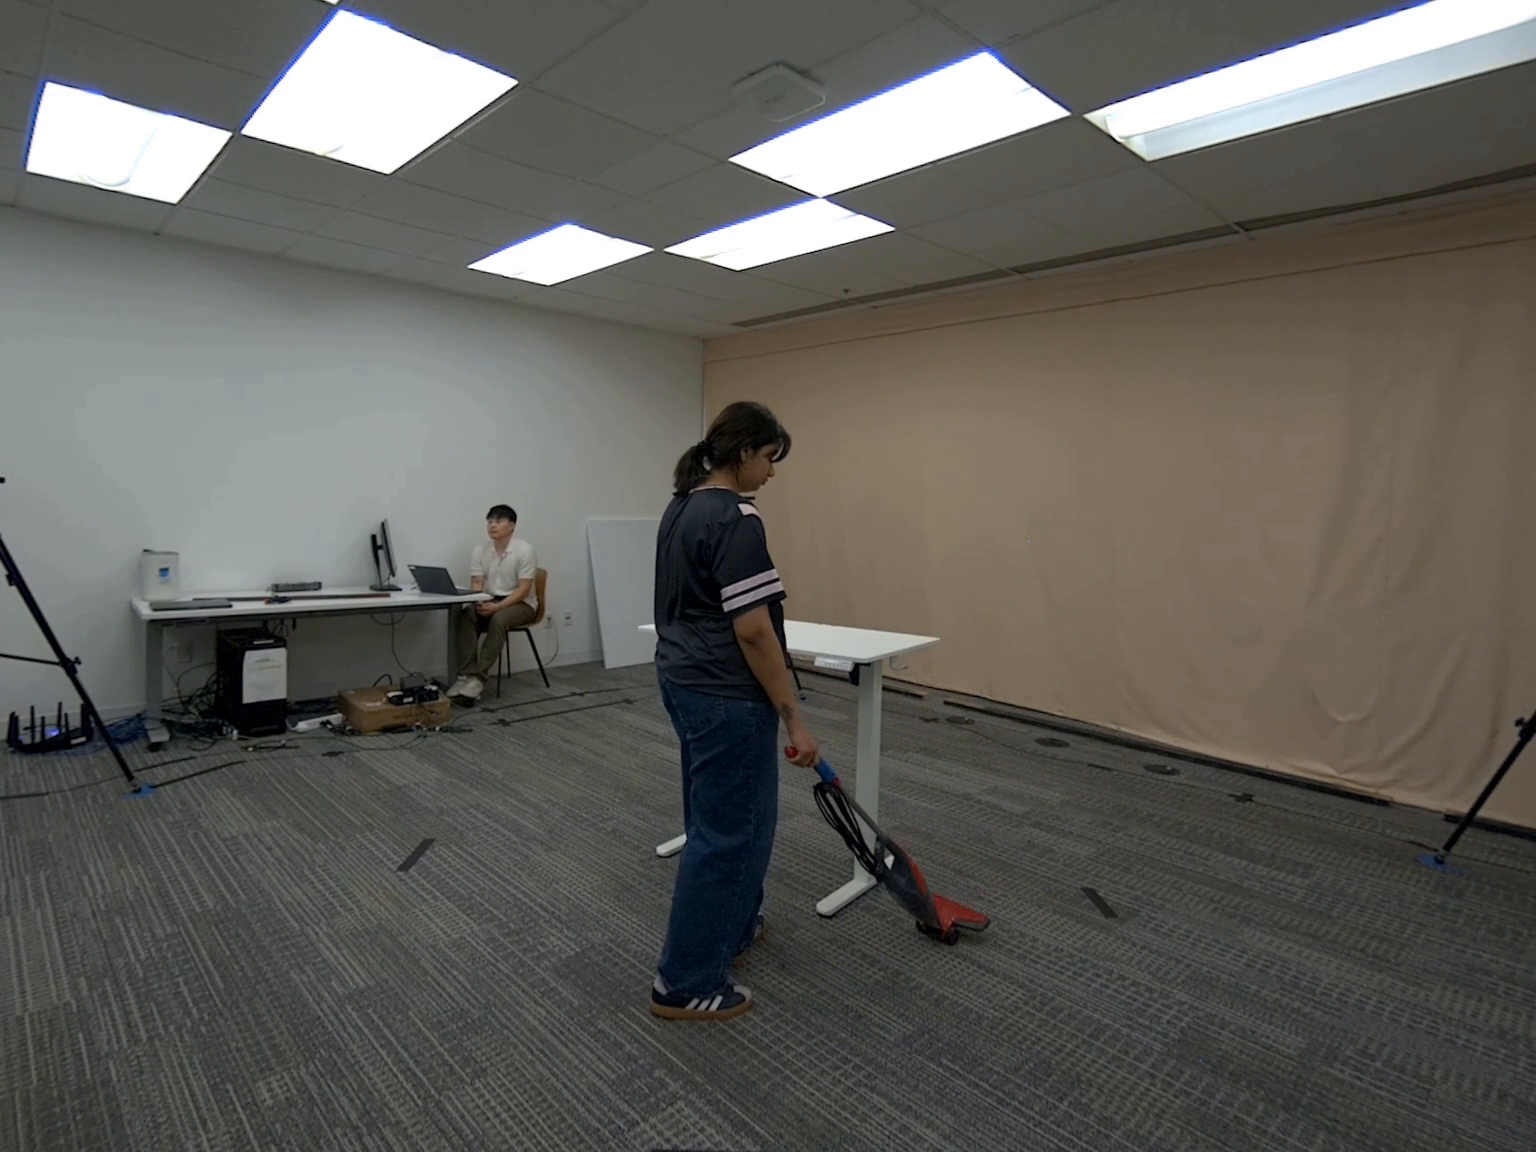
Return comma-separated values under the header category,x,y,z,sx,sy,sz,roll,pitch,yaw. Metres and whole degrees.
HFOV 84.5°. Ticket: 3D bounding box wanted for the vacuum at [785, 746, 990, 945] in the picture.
category,x,y,z,sx,sy,sz,roll,pitch,yaw
vacuum,0.315,0.803,2.459,0.259,0.144,1.019,5,-37,46
